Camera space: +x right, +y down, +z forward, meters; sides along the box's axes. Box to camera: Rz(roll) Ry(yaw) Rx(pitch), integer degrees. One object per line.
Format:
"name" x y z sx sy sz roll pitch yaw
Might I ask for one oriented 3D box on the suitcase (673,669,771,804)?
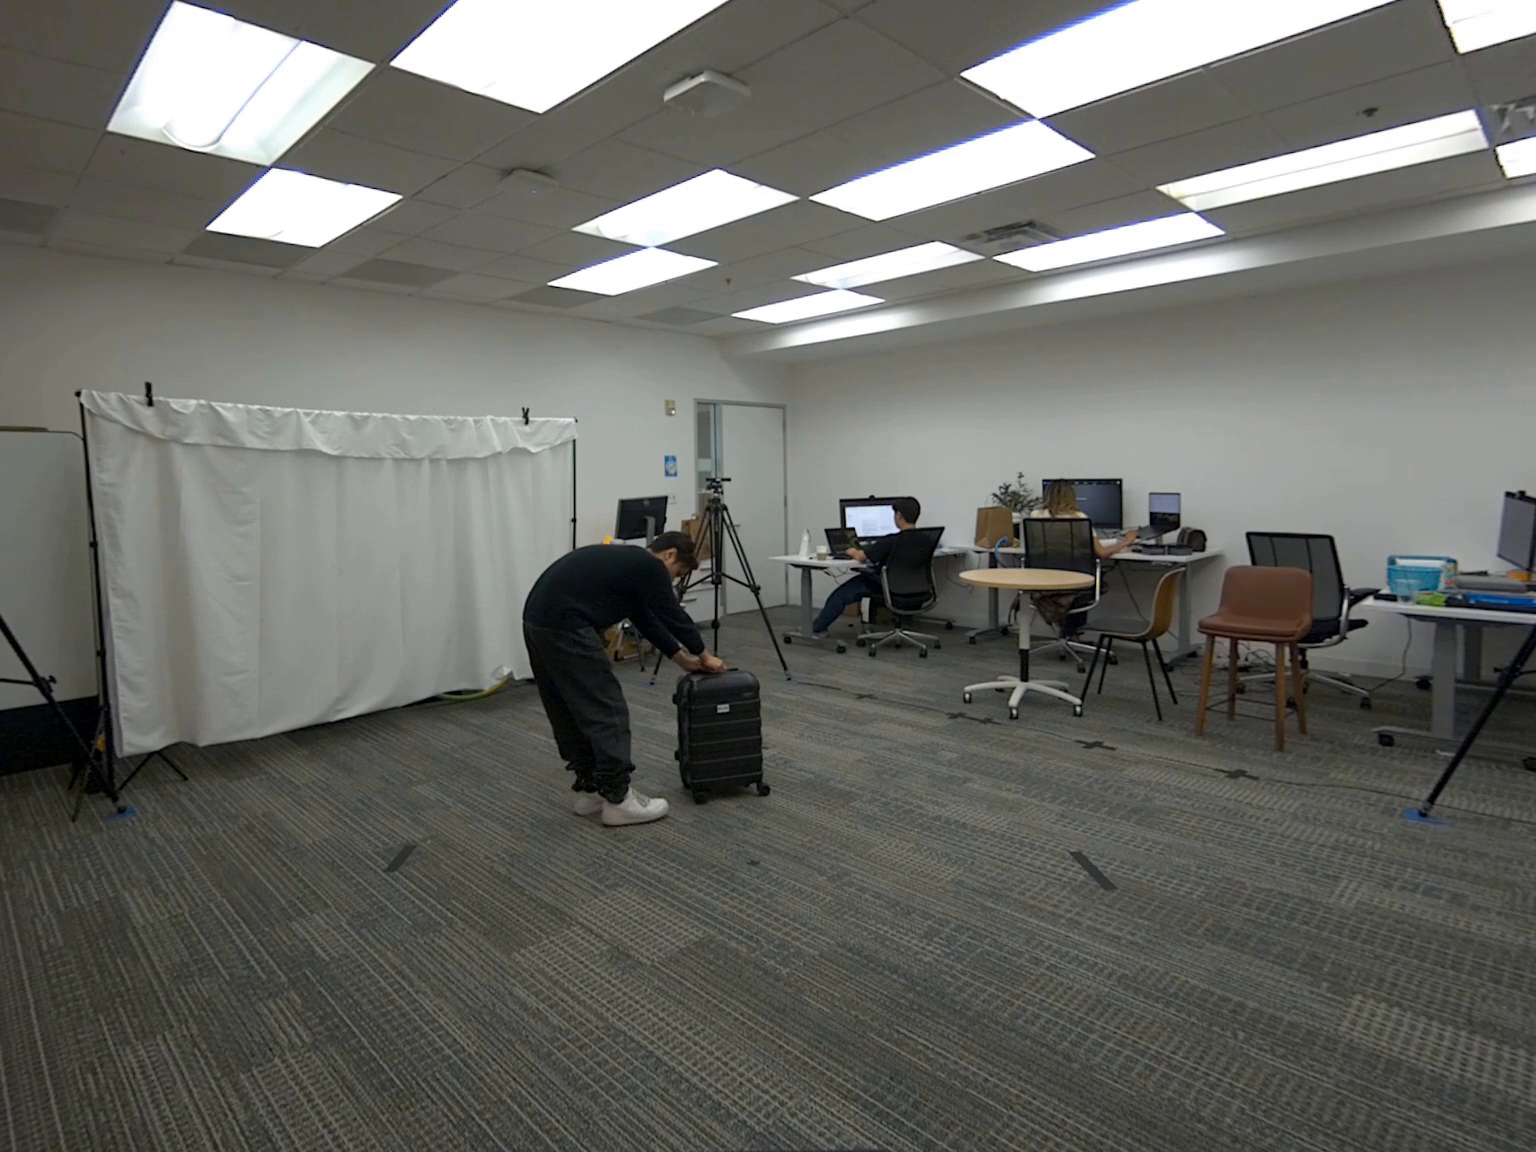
"suitcase" -0.213 0.689 3.816 0.370 0.547 0.253 -4 5 -16
